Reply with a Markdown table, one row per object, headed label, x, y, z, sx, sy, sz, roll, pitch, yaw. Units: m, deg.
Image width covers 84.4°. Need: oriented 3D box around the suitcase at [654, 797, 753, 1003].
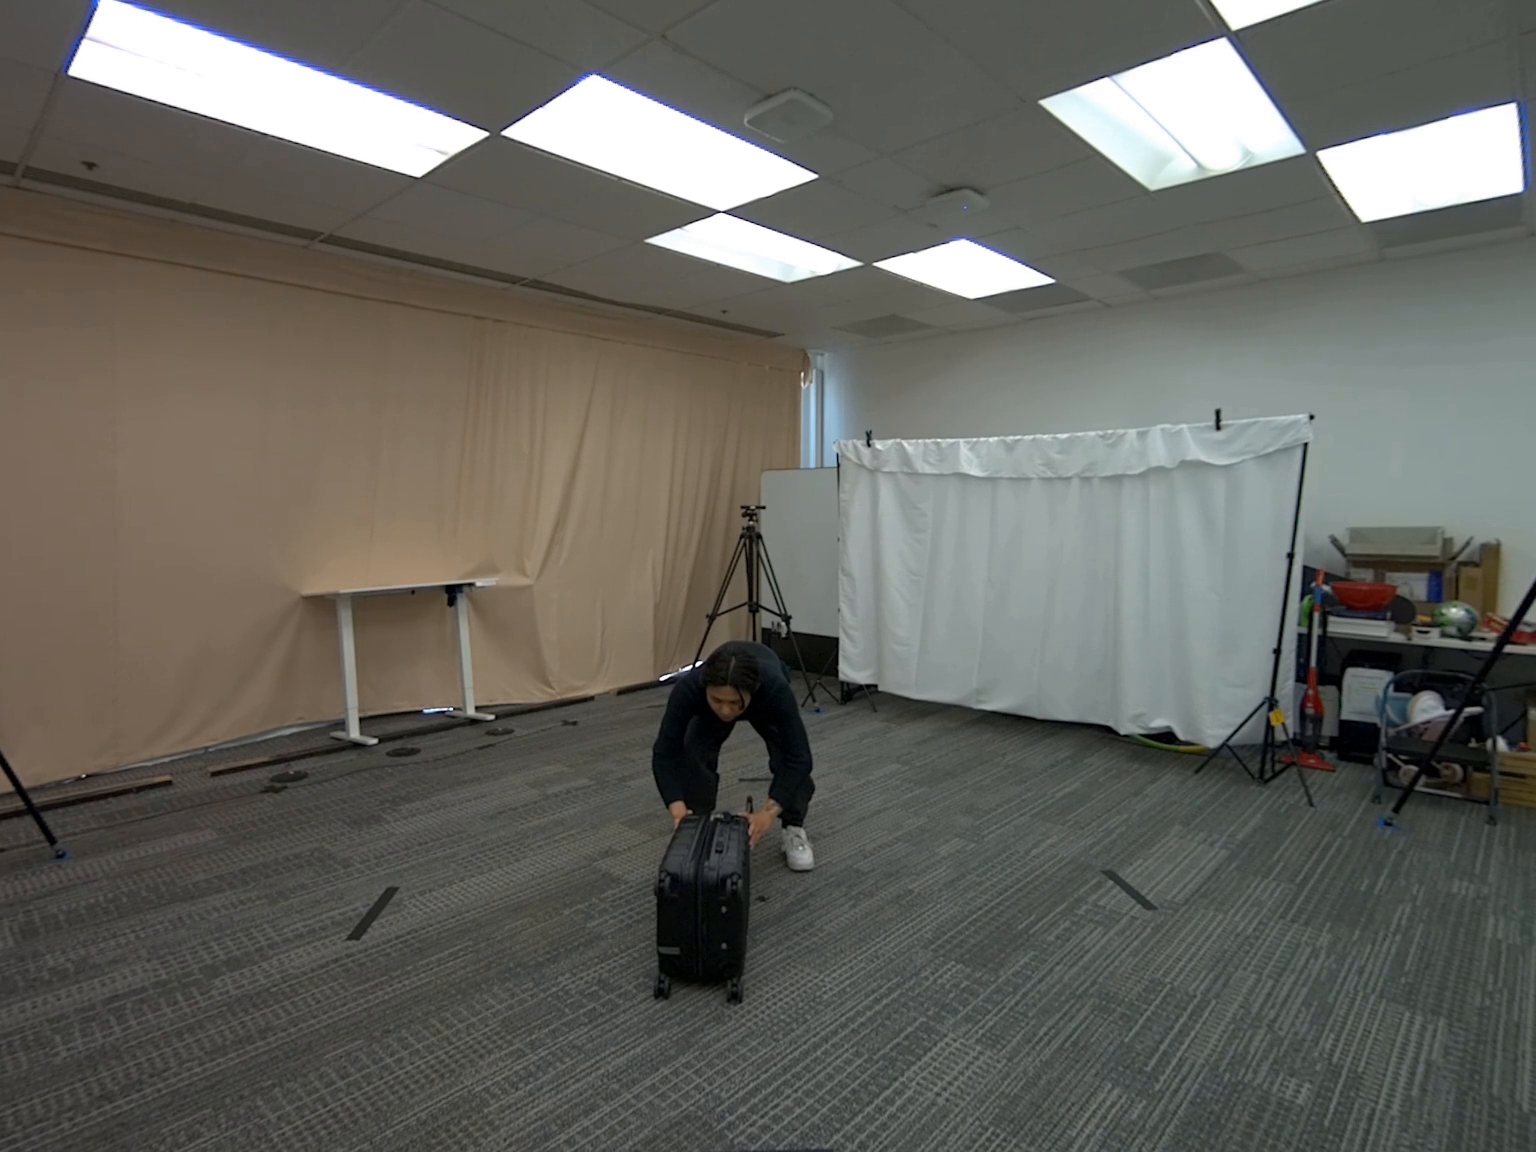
| label | x | y | z | sx | sy | sz | roll | pitch | yaw |
| --- | --- | --- | --- | --- | --- | --- | --- | --- | --- |
| suitcase | -0.186 | 0.969 | 2.833 | 0.258 | 0.383 | 0.978 | 2 | 5 | 1 |
